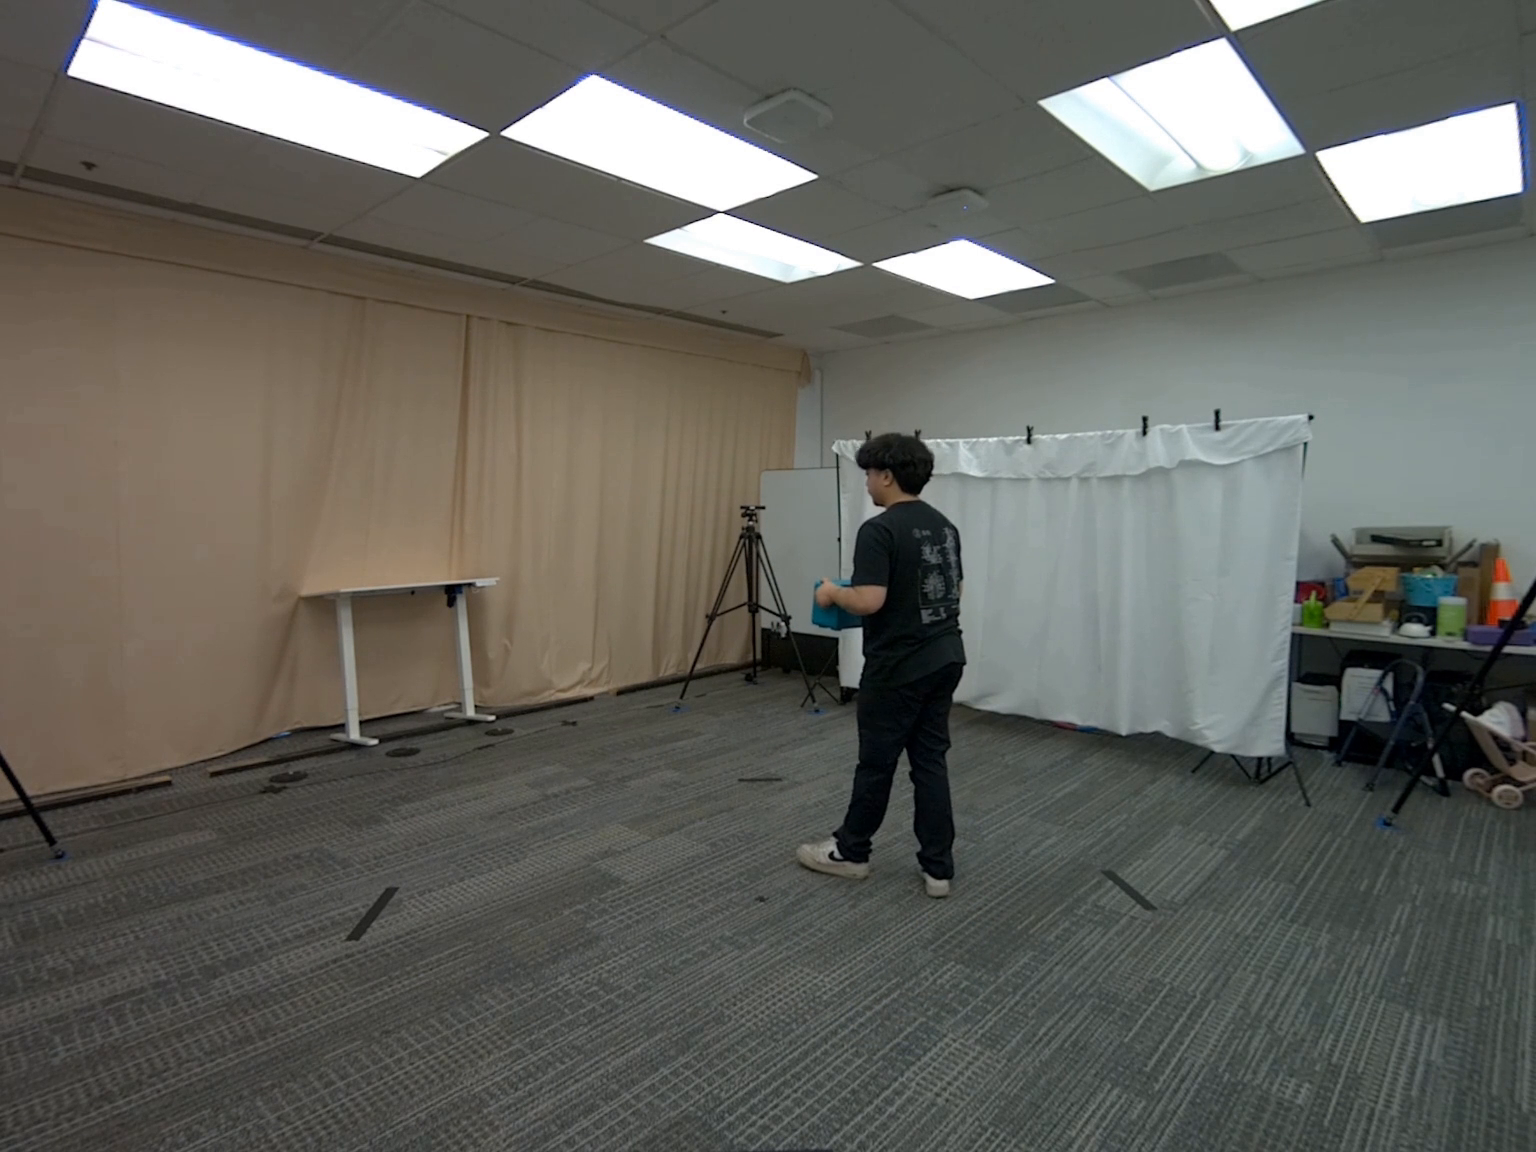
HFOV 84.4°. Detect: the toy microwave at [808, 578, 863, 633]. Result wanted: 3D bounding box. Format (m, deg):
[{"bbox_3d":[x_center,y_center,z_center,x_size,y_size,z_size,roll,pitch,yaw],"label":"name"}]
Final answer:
[{"bbox_3d":[0.312,0.109,3.320,0.157,0.184,0.277,8,6,44],"label":"toy microwave"}]
